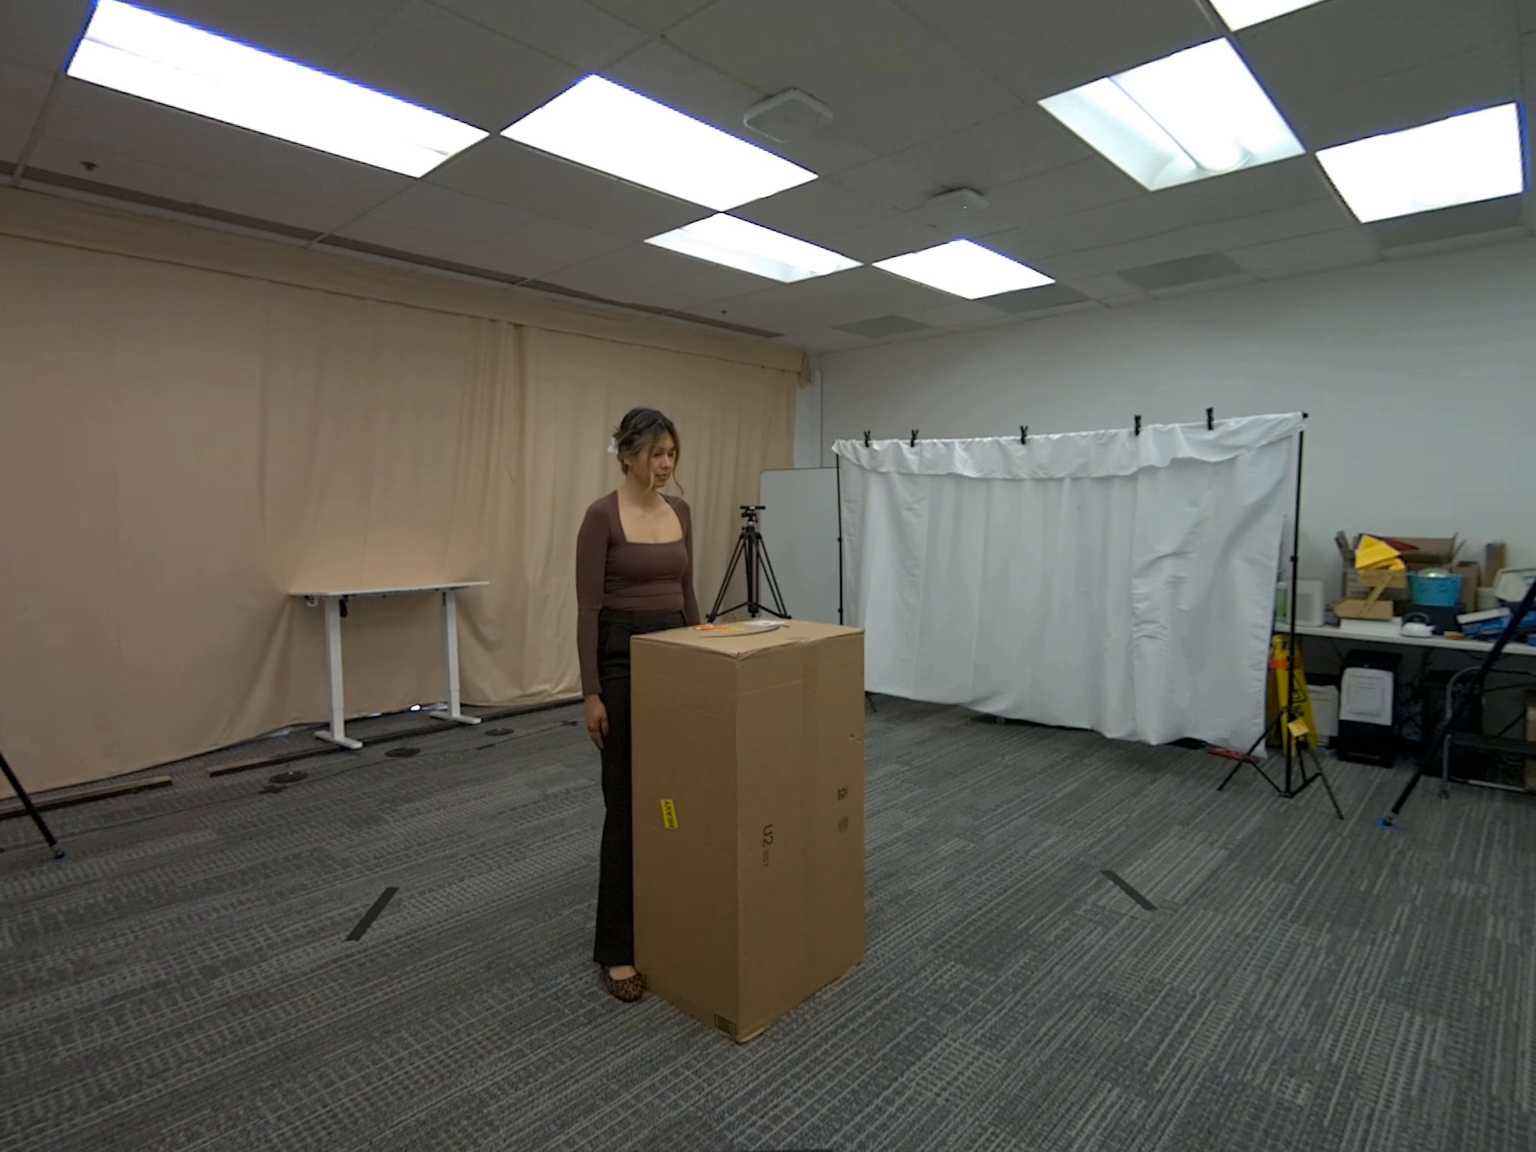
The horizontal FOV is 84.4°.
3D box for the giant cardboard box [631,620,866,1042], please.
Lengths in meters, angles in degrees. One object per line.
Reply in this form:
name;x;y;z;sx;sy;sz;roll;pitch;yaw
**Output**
giant cardboard box;-0.042;0.674;2.498;0.461;1.025;0.566;2;3;43
